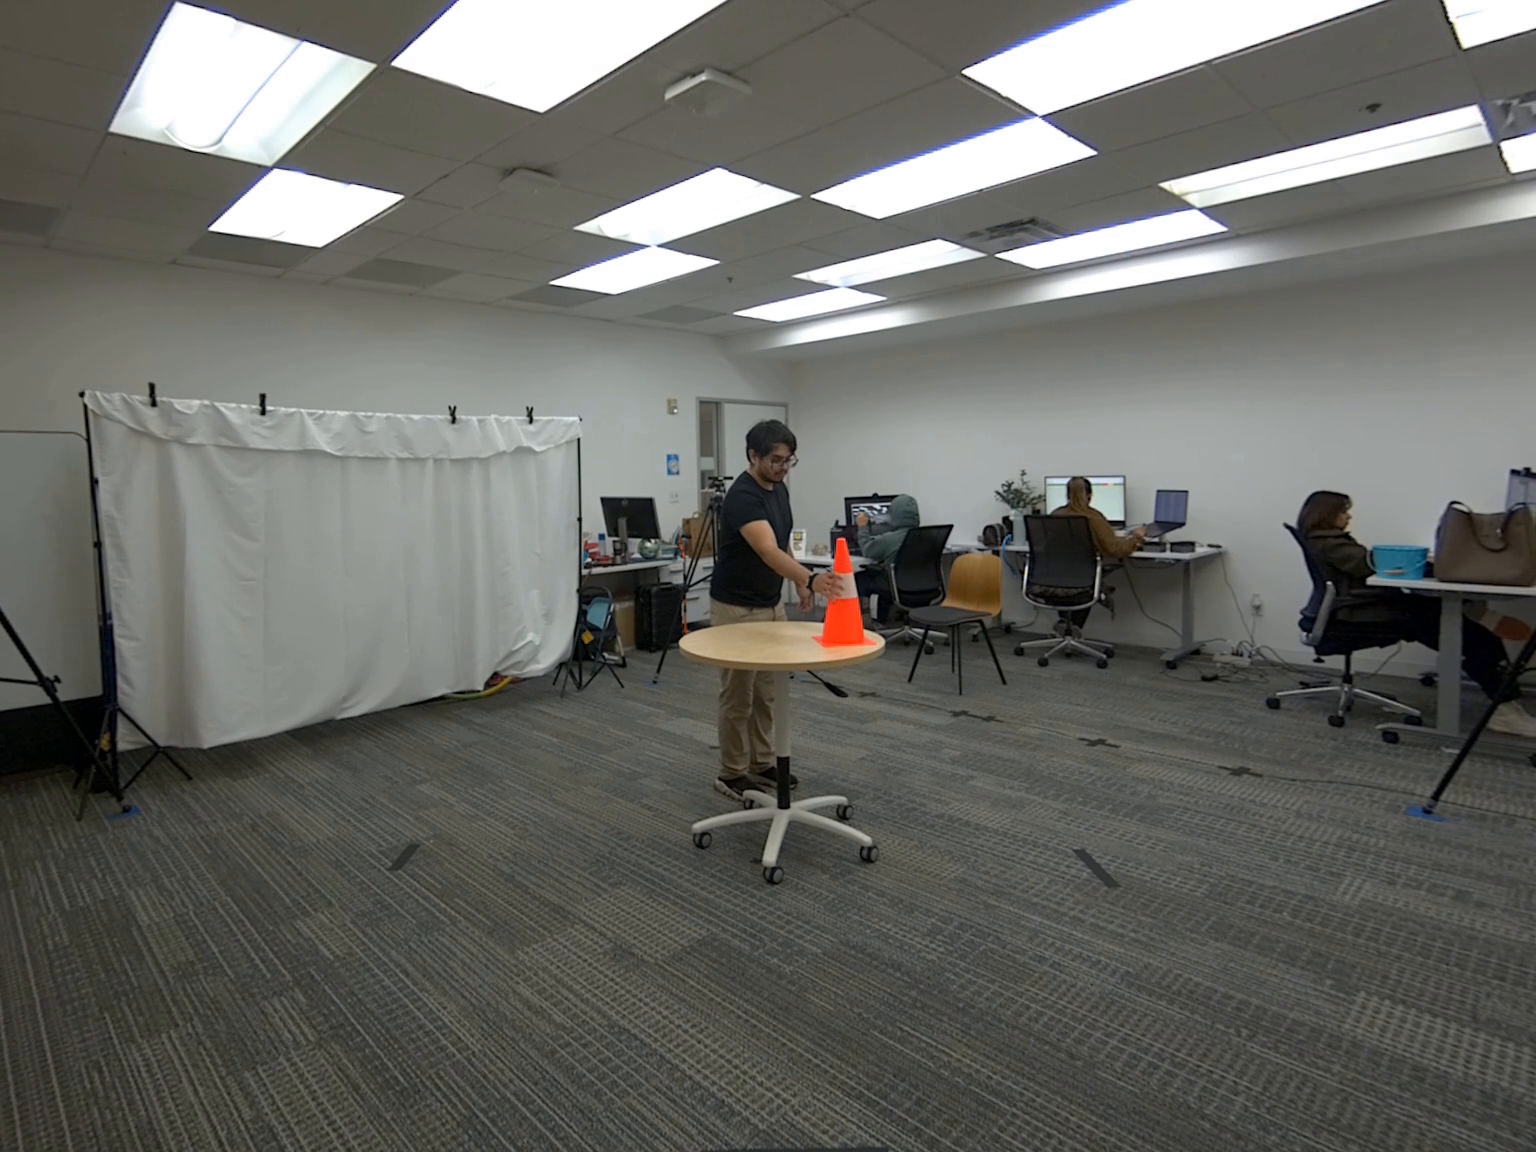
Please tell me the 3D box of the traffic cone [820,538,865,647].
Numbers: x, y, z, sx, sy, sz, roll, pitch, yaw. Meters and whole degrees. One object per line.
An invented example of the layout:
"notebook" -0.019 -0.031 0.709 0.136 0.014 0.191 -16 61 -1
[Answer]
"traffic cone" 0.280 0.056 3.154 0.203 0.382 0.206 -3 5 -10
